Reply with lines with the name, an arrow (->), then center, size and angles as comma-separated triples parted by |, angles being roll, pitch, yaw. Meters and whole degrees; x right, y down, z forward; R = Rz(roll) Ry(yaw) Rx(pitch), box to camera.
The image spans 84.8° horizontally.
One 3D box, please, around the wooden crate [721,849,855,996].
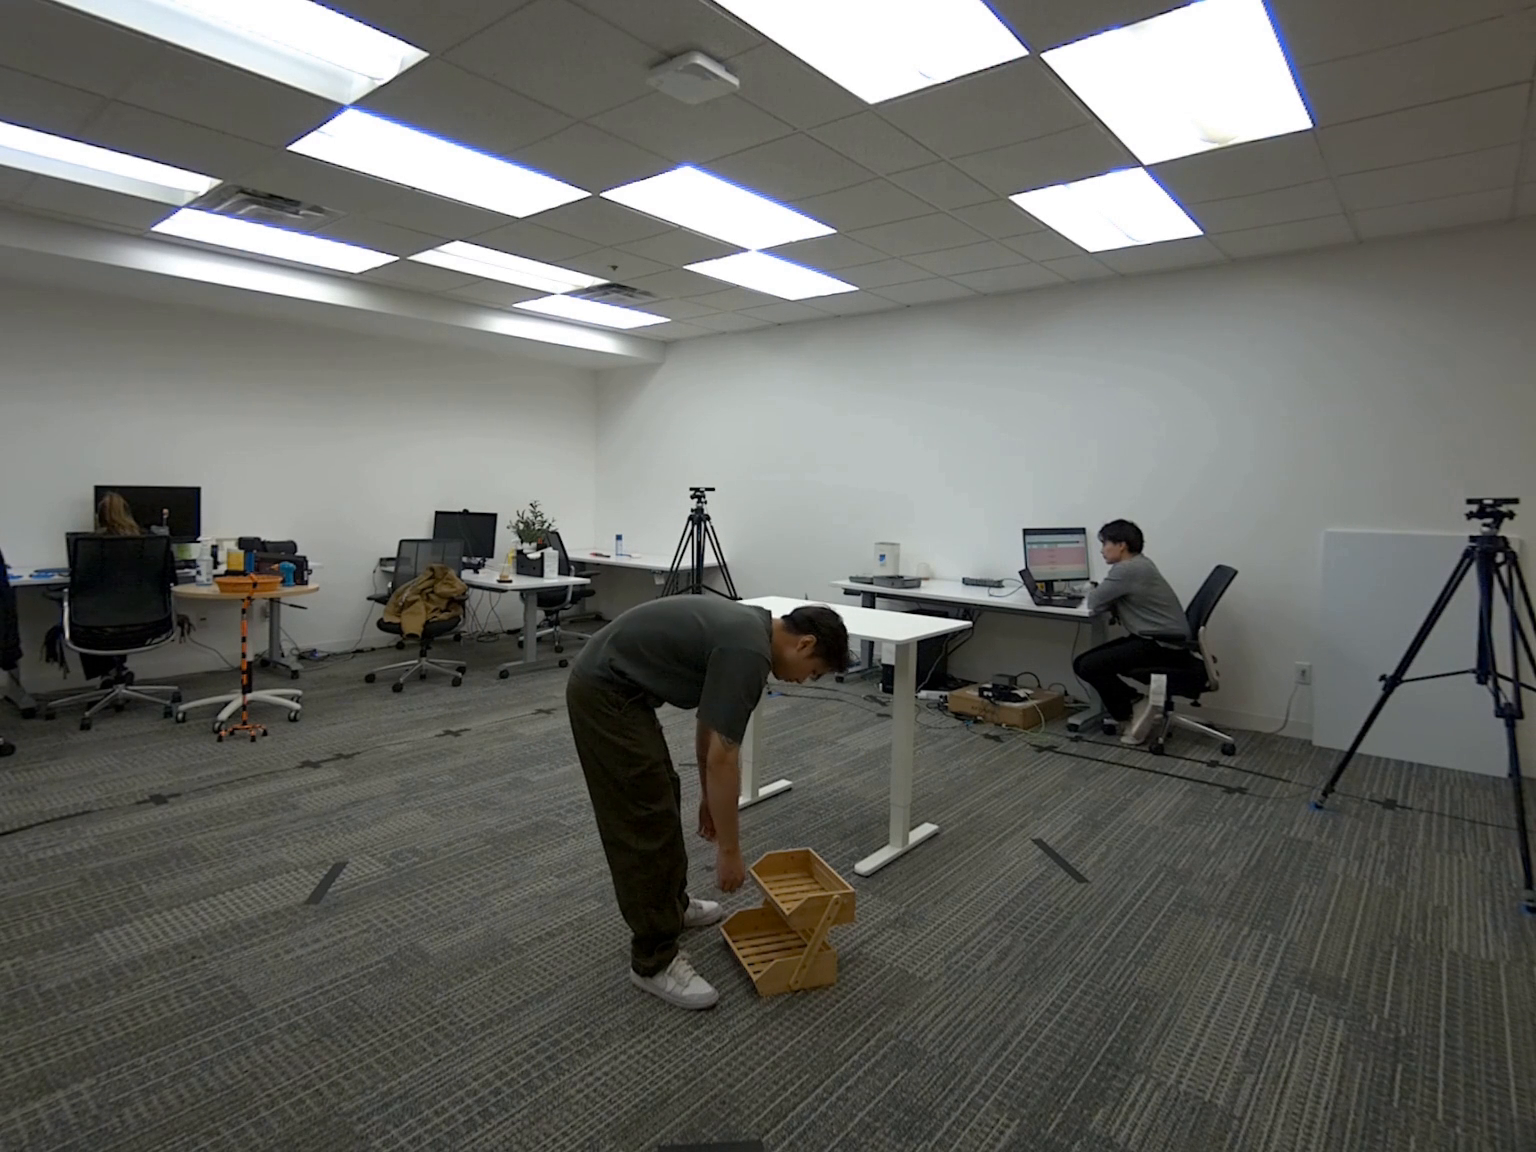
wooden crate -> 0.037, 1.017, 2.495 | 0.296, 0.272, 0.332 | 3, 5, -21
